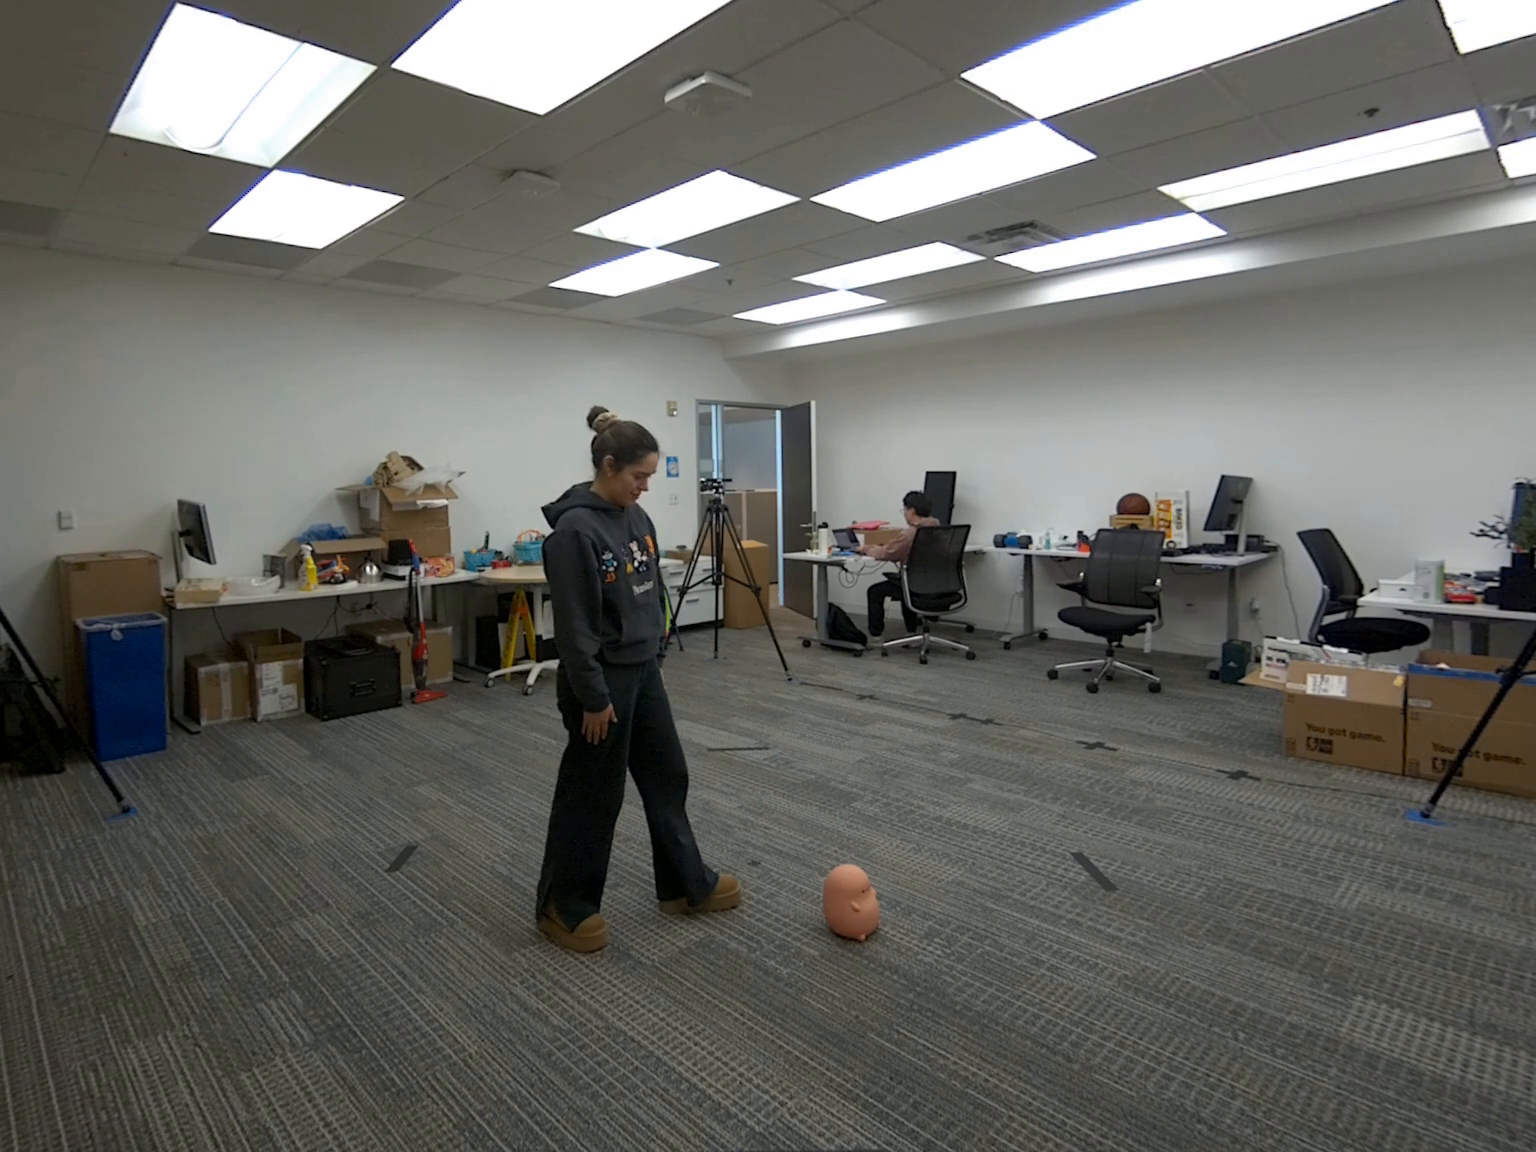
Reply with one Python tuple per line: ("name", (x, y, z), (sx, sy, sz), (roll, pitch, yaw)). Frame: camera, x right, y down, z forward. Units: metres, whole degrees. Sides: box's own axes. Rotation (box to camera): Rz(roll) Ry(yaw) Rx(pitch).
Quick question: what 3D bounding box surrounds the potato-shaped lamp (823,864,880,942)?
("potato-shaped lamp", (0.253, 0.987, 2.621), (0.176, 0.197, 0.161), (4, 8, 39))
